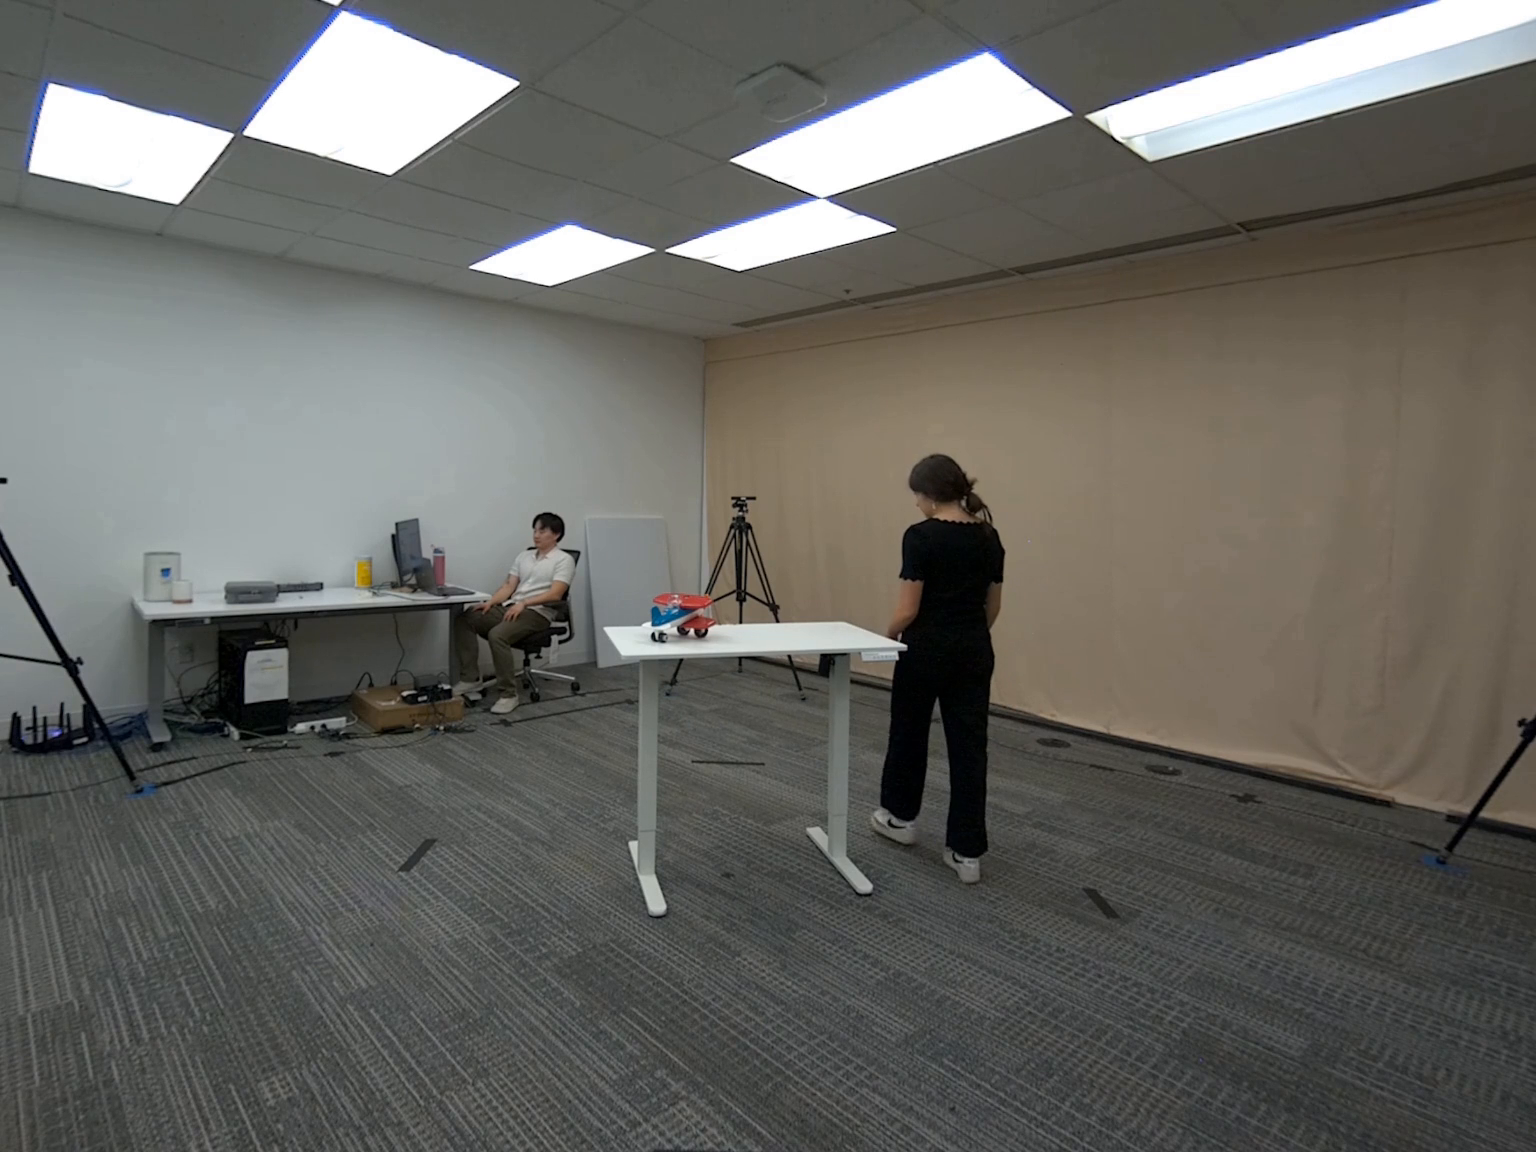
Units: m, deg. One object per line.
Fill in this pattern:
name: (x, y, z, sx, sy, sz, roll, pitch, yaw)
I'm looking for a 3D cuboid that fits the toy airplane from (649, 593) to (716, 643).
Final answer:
toy airplane: (-0.316, 0.153, 3.017, 0.253, 0.156, 0.258, 1, 4, 9)
